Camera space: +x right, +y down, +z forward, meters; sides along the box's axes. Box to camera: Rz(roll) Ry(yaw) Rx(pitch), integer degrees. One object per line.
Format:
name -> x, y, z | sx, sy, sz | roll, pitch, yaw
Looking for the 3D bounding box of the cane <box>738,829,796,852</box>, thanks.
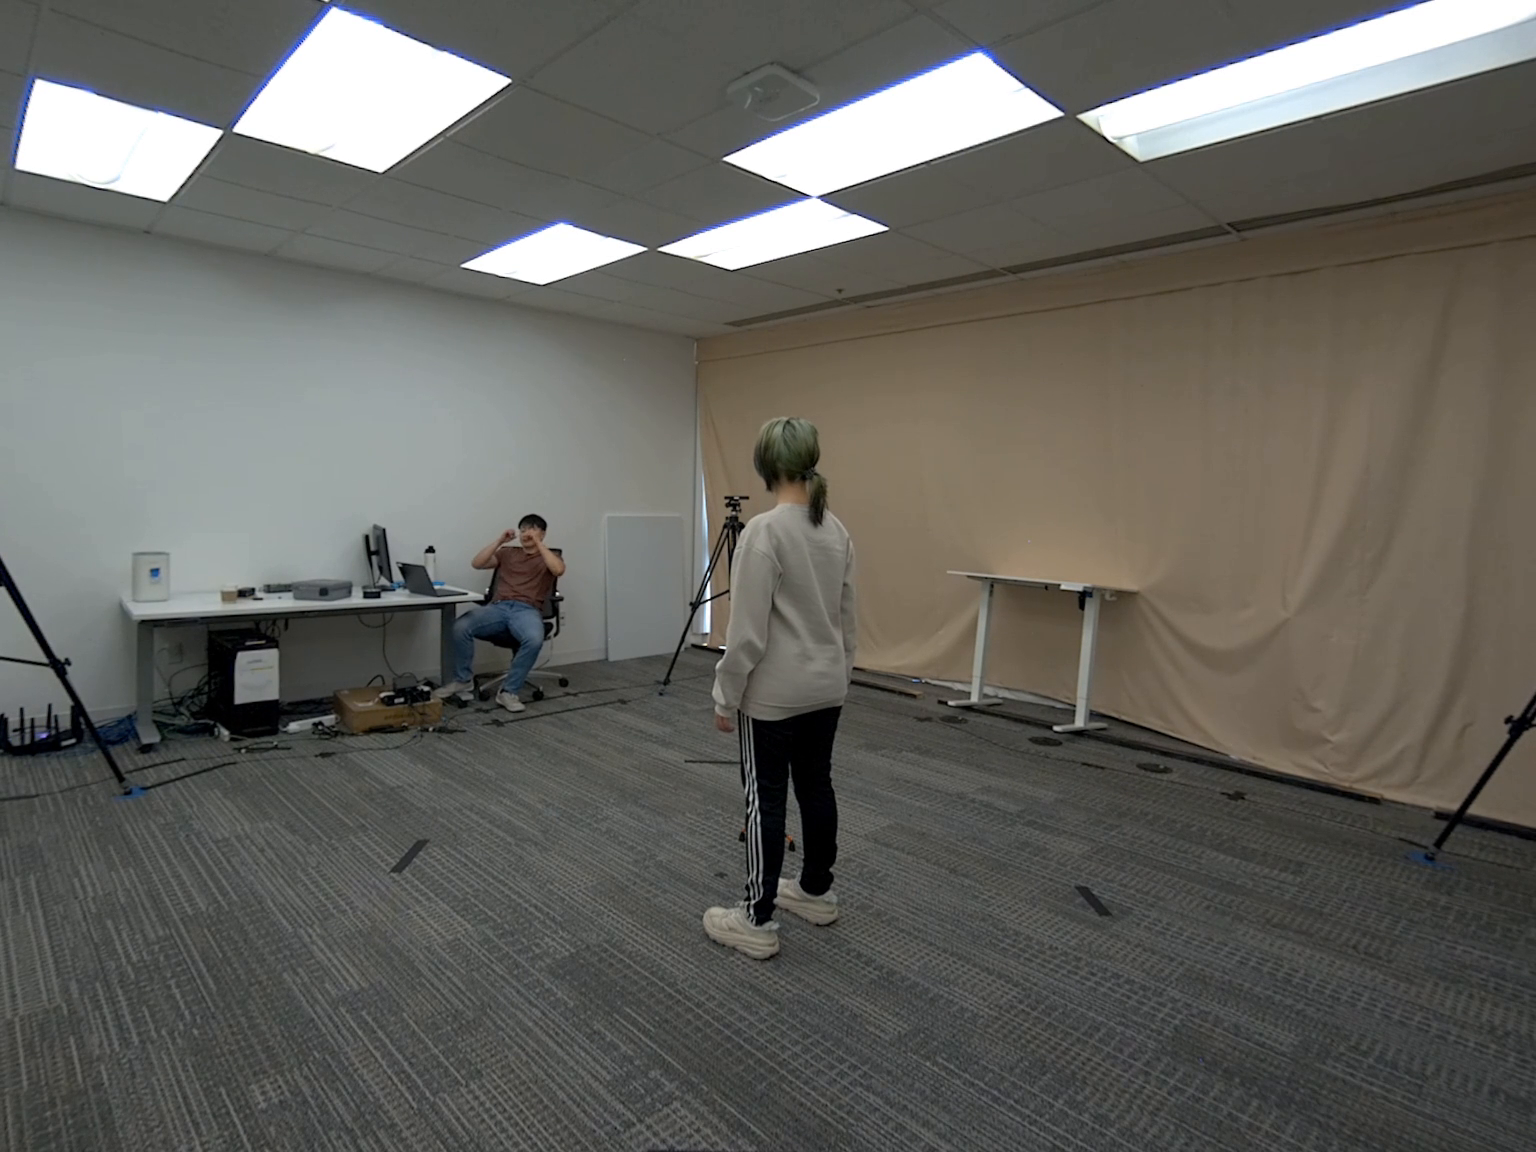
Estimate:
cane -> 0.002, 0.630, 3.362 | 0.148, 0.906, 0.211 | 0, 3, -32
